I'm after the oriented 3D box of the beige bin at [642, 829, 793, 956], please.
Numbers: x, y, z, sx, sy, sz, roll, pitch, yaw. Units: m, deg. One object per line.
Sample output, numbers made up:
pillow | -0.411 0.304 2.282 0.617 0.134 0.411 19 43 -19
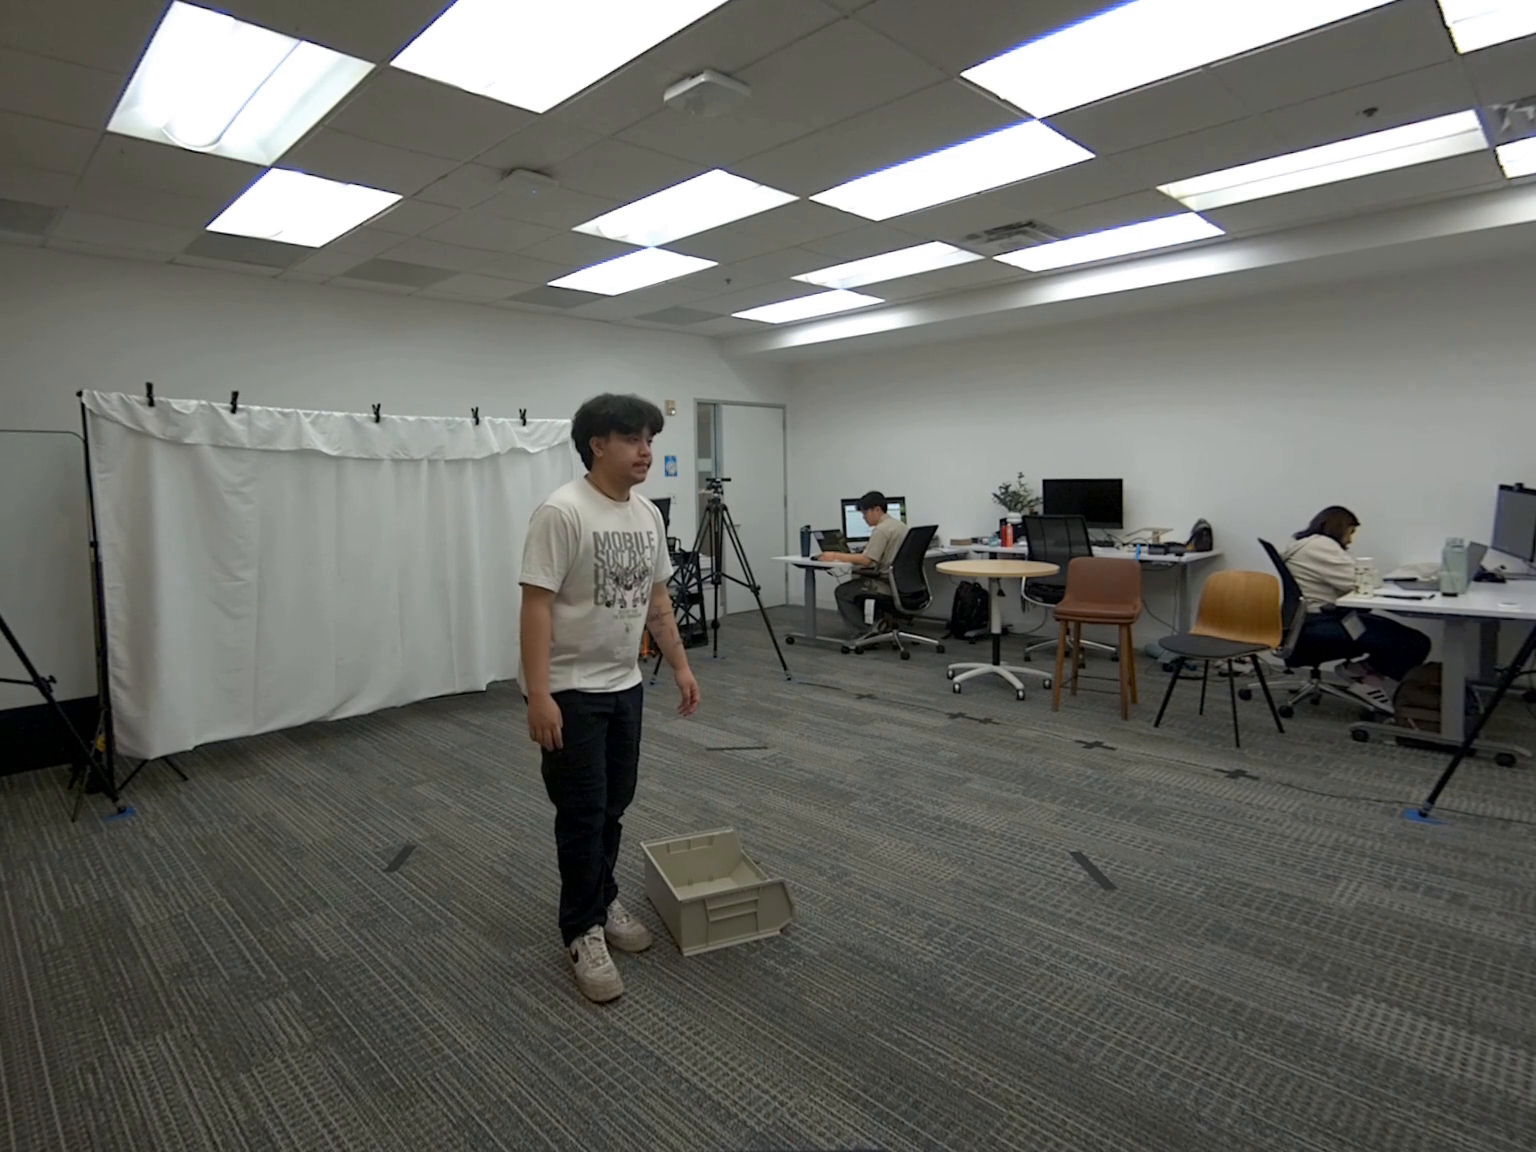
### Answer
beige bin | -0.169 0.998 2.752 0.370 0.188 0.433 -4 8 -23
